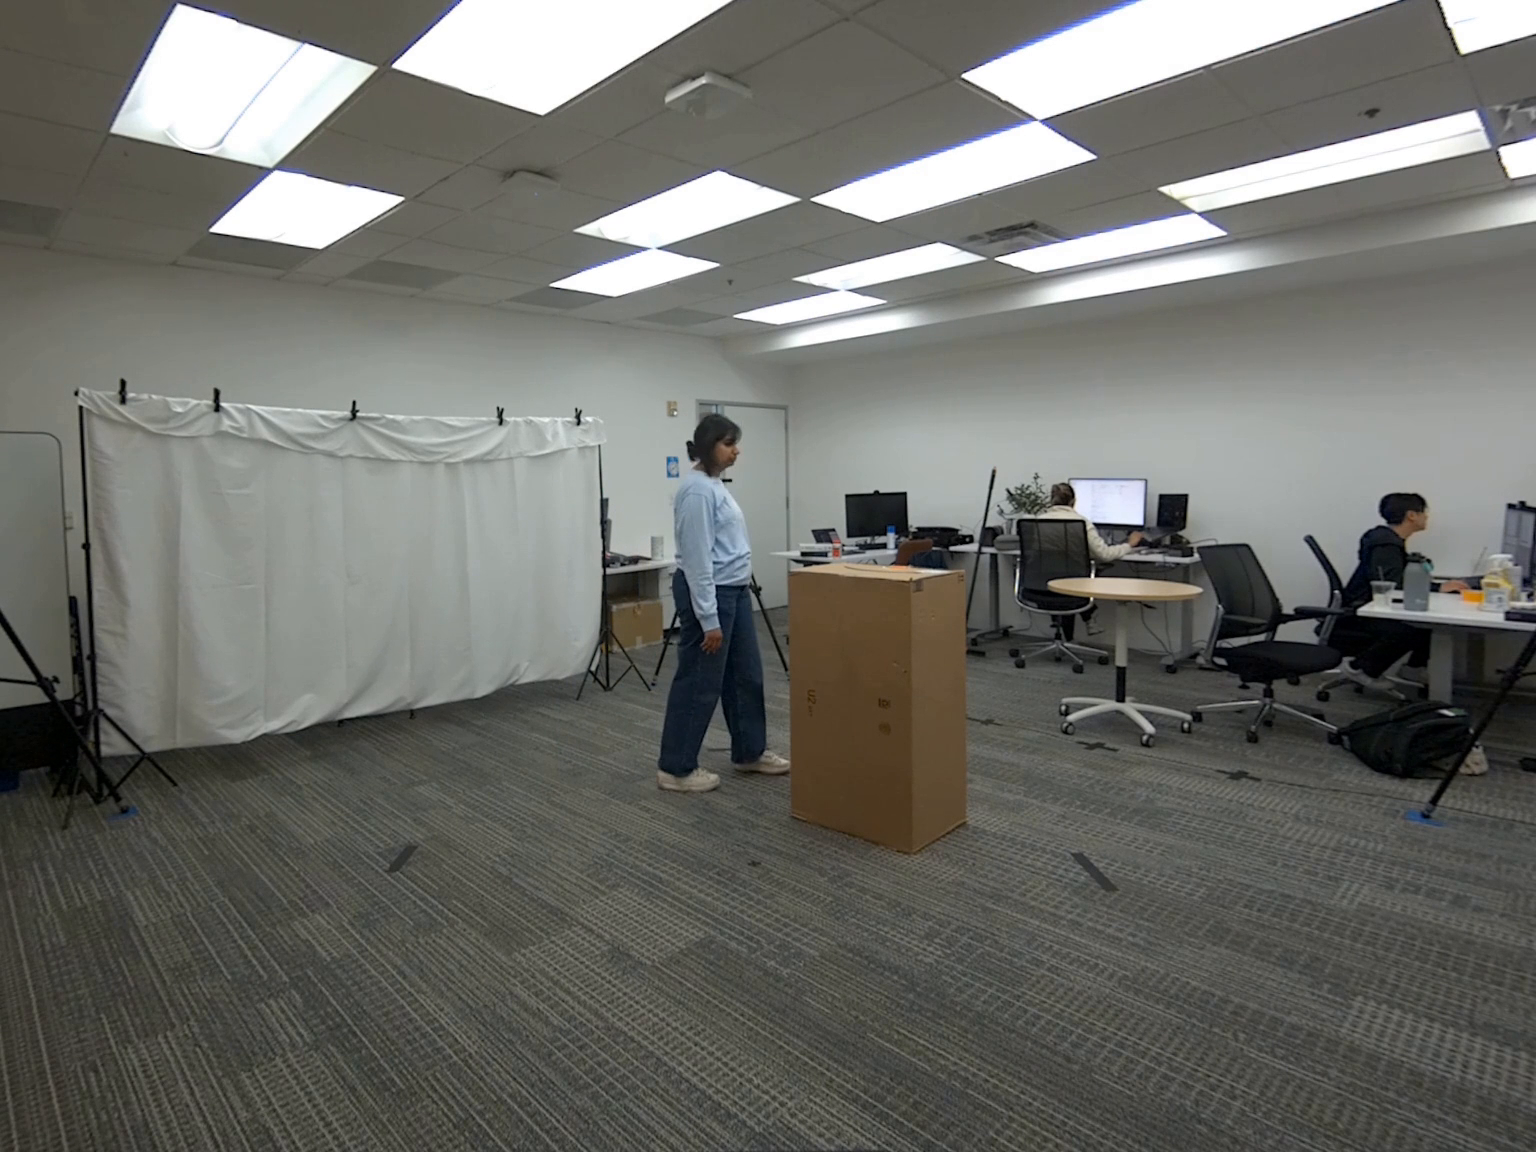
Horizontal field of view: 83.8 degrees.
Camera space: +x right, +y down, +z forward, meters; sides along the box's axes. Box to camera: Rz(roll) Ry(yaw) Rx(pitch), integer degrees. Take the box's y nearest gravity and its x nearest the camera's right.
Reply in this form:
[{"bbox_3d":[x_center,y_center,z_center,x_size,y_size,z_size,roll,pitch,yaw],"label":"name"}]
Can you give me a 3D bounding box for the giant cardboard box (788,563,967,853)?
[{"bbox_3d":[0.446,0.488,3.468,0.595,1.022,0.415,3,5,42],"label":"giant cardboard box"}]
